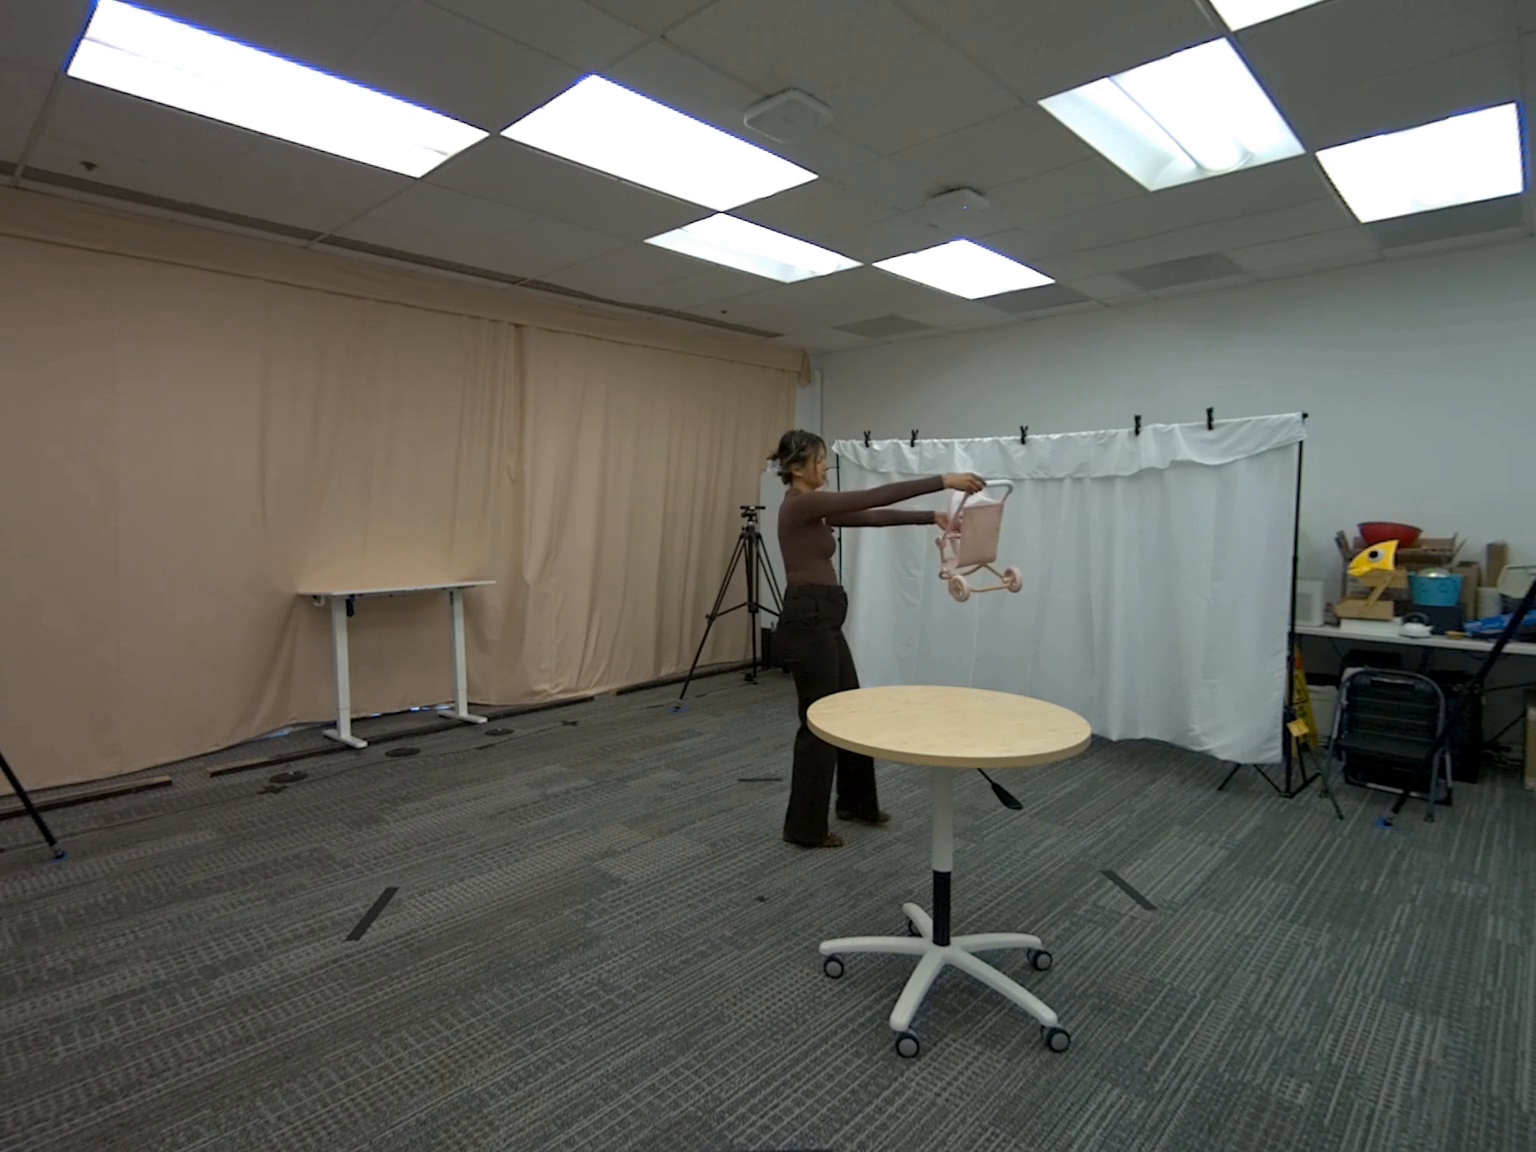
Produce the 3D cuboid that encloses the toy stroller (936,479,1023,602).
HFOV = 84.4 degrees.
[{"bbox_3d":[0.840,-0.138,3.439,0.278,0.530,0.349,-8,14,-14],"label":"toy stroller"}]
